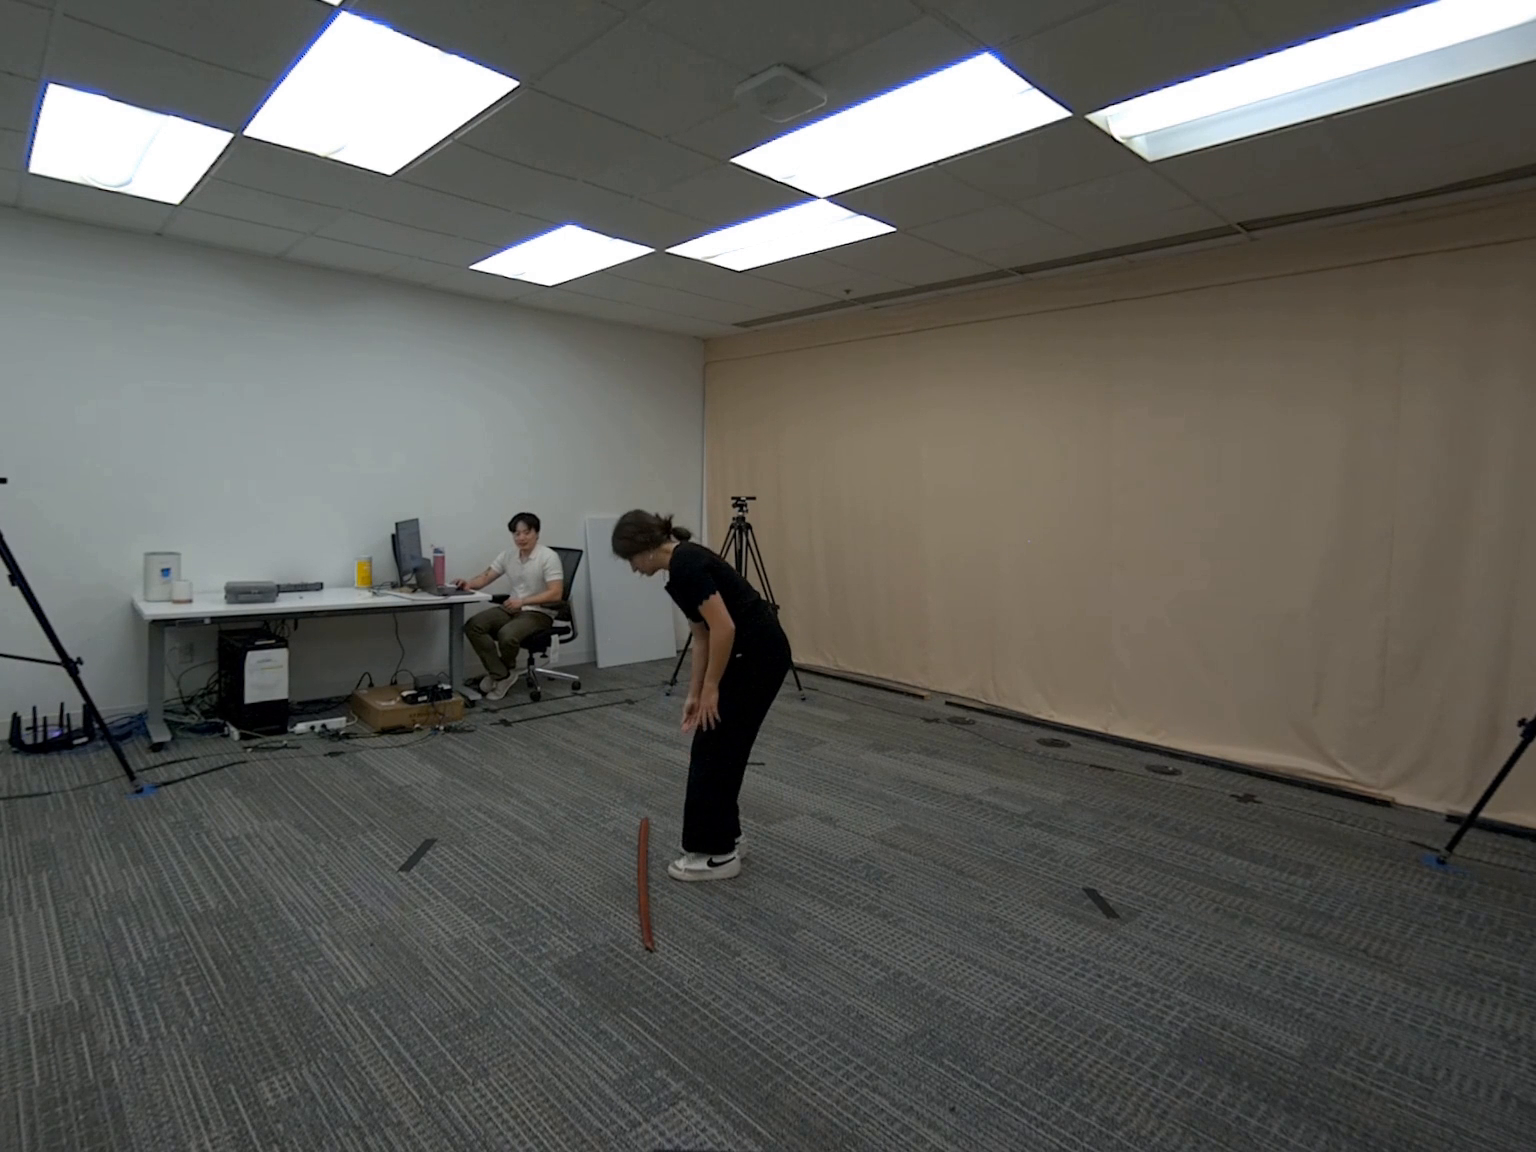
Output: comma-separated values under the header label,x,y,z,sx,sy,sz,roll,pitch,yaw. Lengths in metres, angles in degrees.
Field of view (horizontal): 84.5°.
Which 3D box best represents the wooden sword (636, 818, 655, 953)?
label,x,y,z,sx,sy,sz,roll,pitch,yaw
wooden sword,-0.446,1.077,3.066,0.051,0.024,1.034,-18,8,-7
